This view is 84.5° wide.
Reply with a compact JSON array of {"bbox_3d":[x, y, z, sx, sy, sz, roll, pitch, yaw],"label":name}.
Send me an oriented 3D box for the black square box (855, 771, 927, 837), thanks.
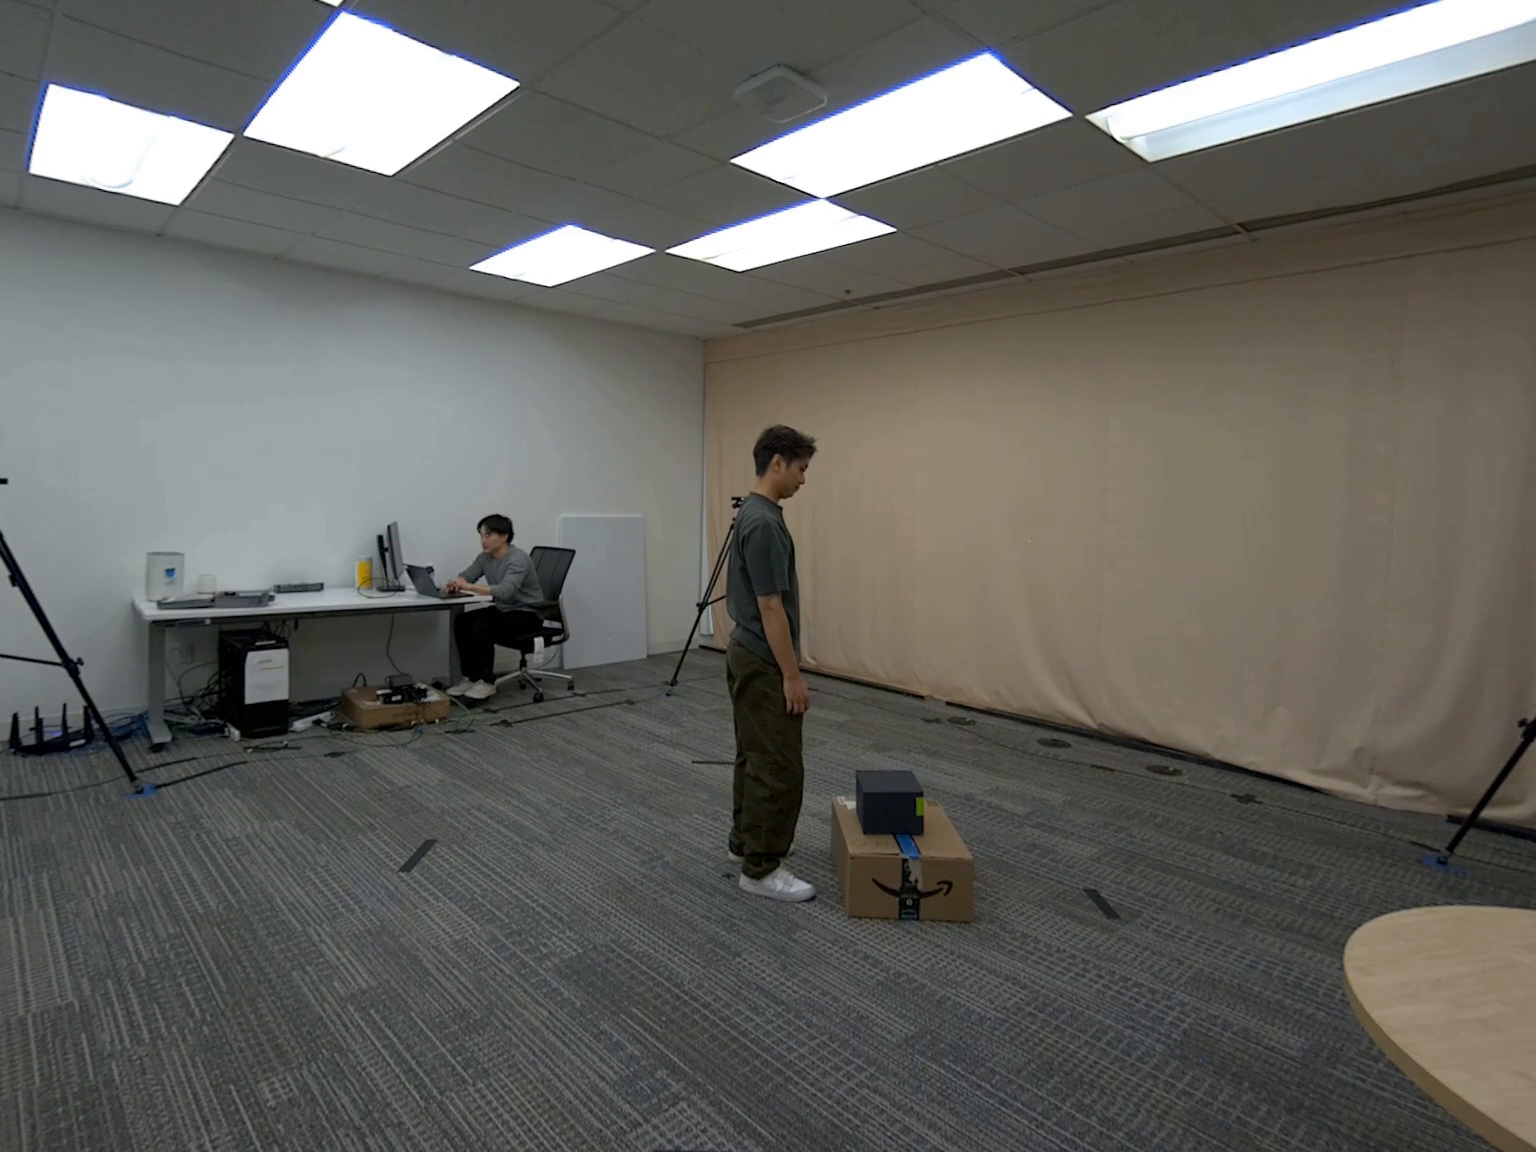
[{"bbox_3d":[0.441,0.825,3.078,0.217,0.155,0.228,0,4,0],"label":"black square box"}]
